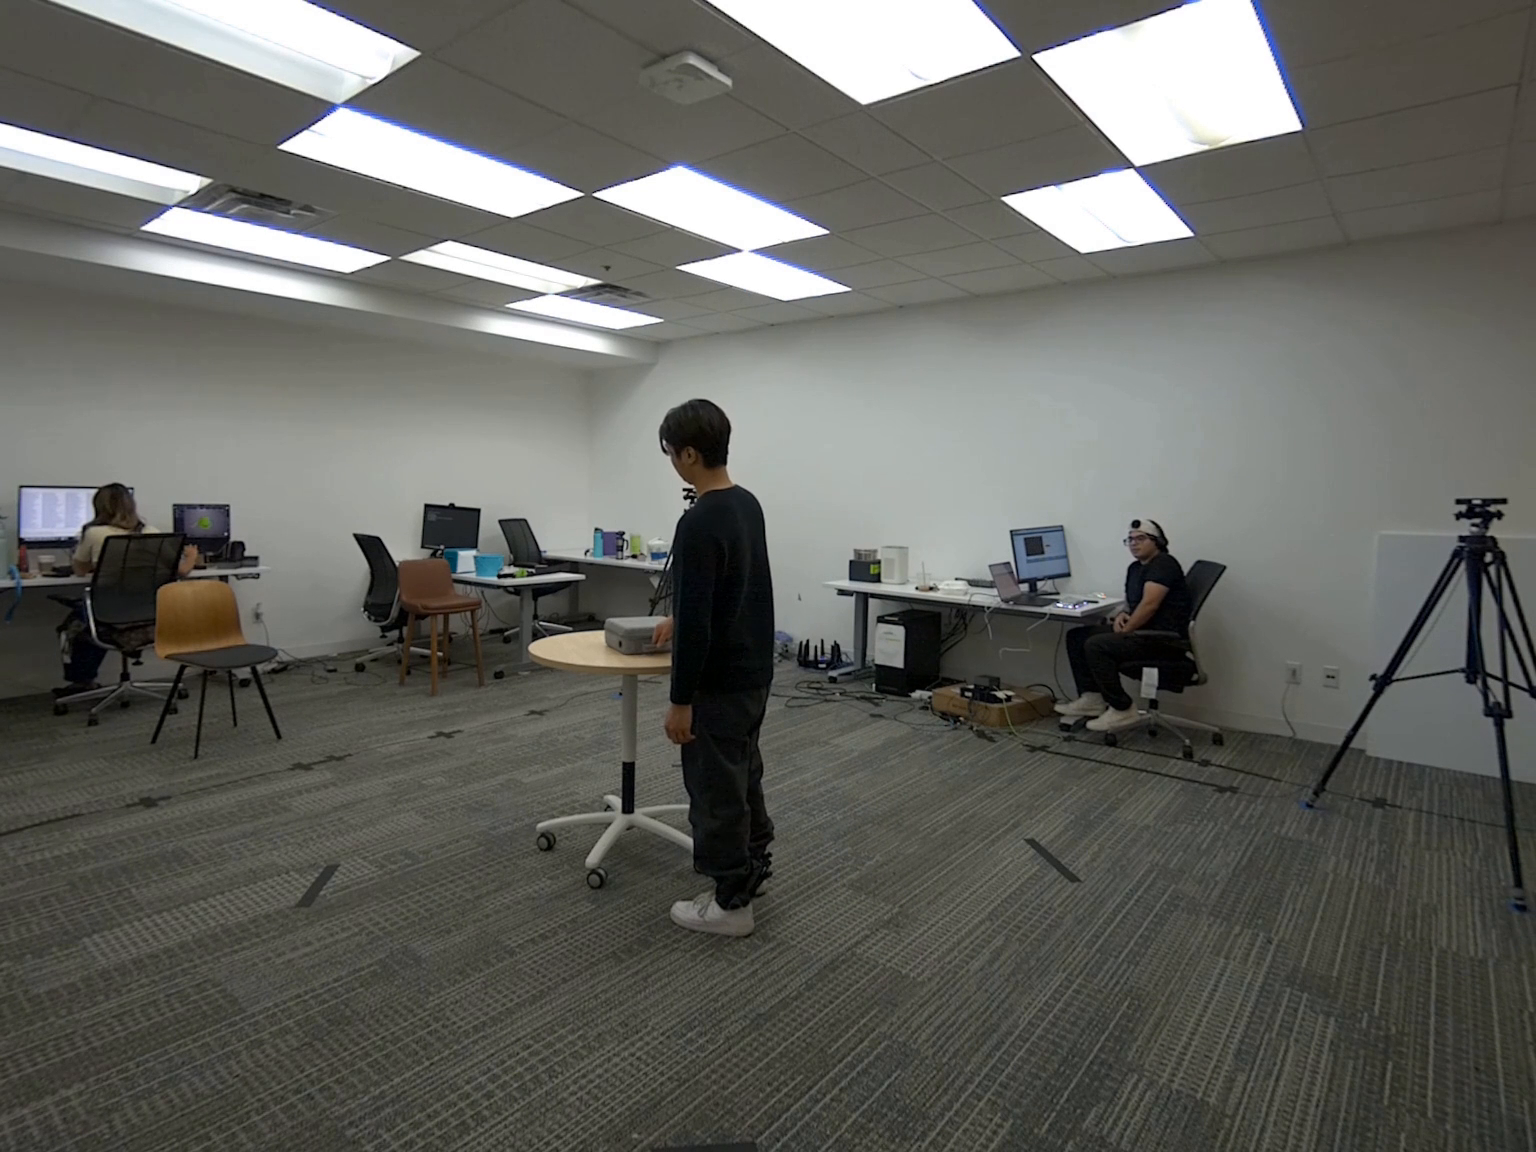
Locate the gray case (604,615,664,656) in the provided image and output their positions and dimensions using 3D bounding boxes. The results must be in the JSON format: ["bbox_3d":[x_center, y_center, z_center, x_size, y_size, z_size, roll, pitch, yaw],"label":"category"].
[{"bbox_3d":[-0.474,0.218,3.215,0.250,0.104,0.268,-1,6,-28],"label":"gray case"}]
